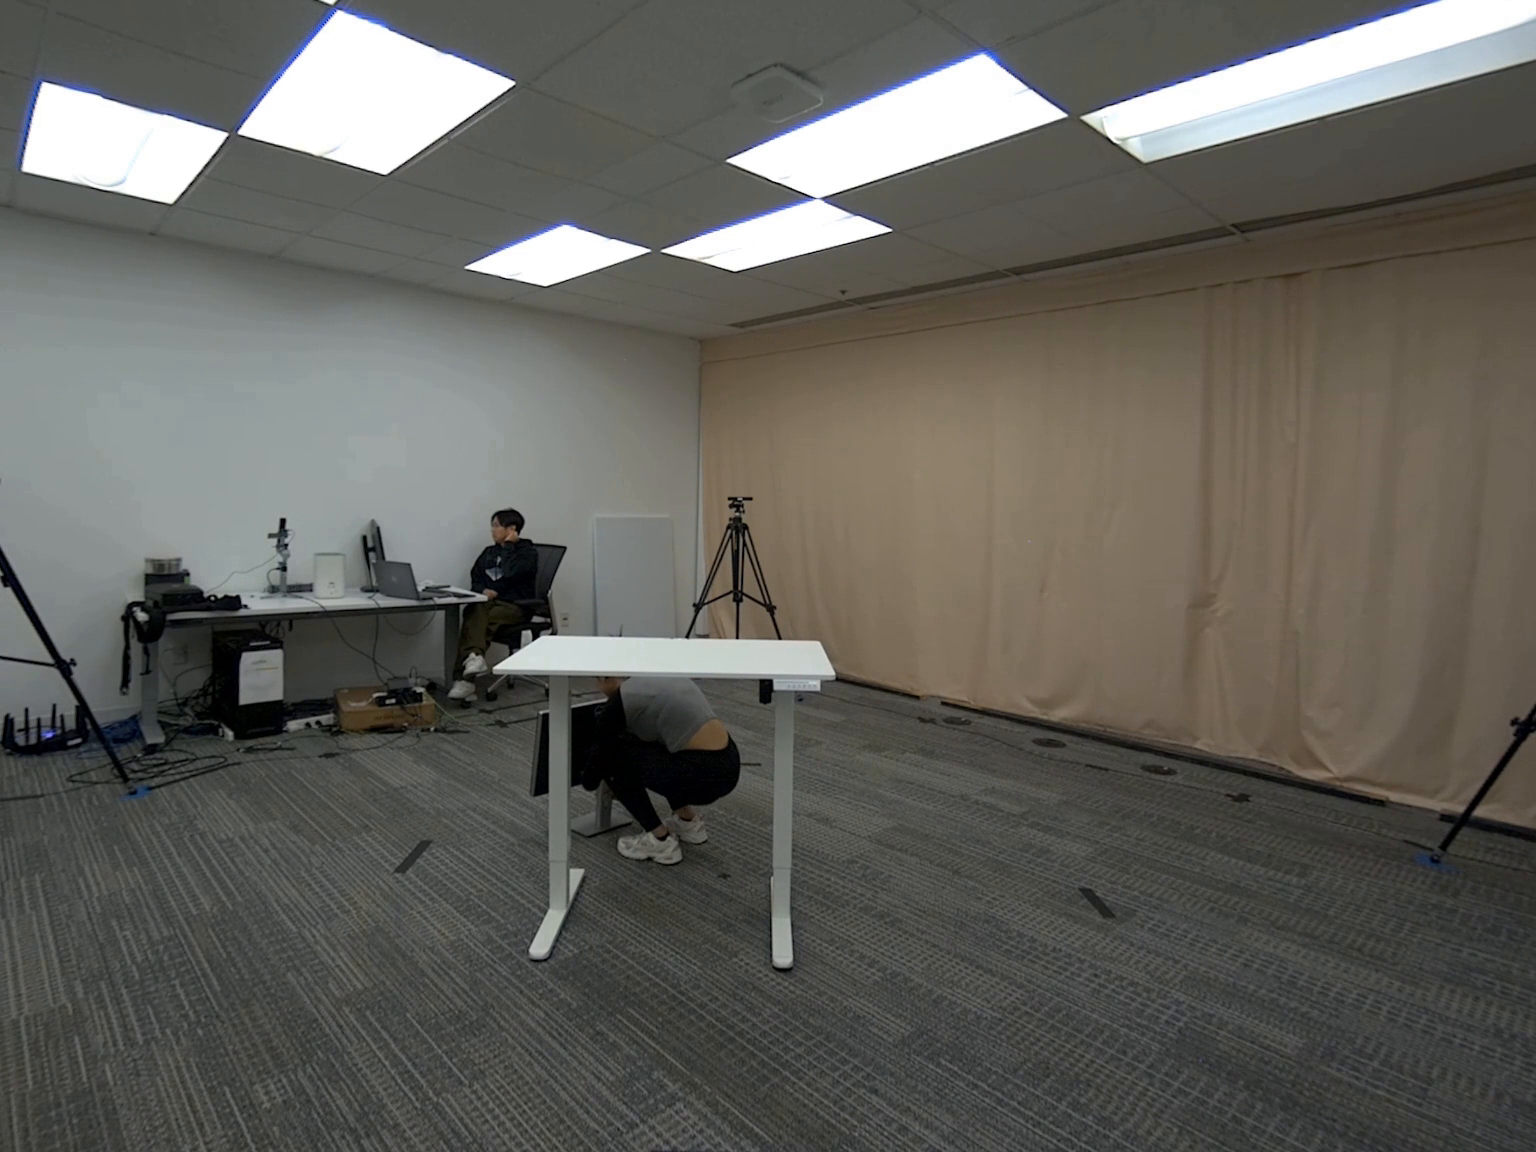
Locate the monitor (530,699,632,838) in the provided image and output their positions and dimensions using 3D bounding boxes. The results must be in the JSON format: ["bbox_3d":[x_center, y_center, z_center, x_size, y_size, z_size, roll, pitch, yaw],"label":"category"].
[{"bbox_3d":[-0.728,0.793,3.556,0.192,0.521,0.527,3,4,42],"label":"monitor"}]
